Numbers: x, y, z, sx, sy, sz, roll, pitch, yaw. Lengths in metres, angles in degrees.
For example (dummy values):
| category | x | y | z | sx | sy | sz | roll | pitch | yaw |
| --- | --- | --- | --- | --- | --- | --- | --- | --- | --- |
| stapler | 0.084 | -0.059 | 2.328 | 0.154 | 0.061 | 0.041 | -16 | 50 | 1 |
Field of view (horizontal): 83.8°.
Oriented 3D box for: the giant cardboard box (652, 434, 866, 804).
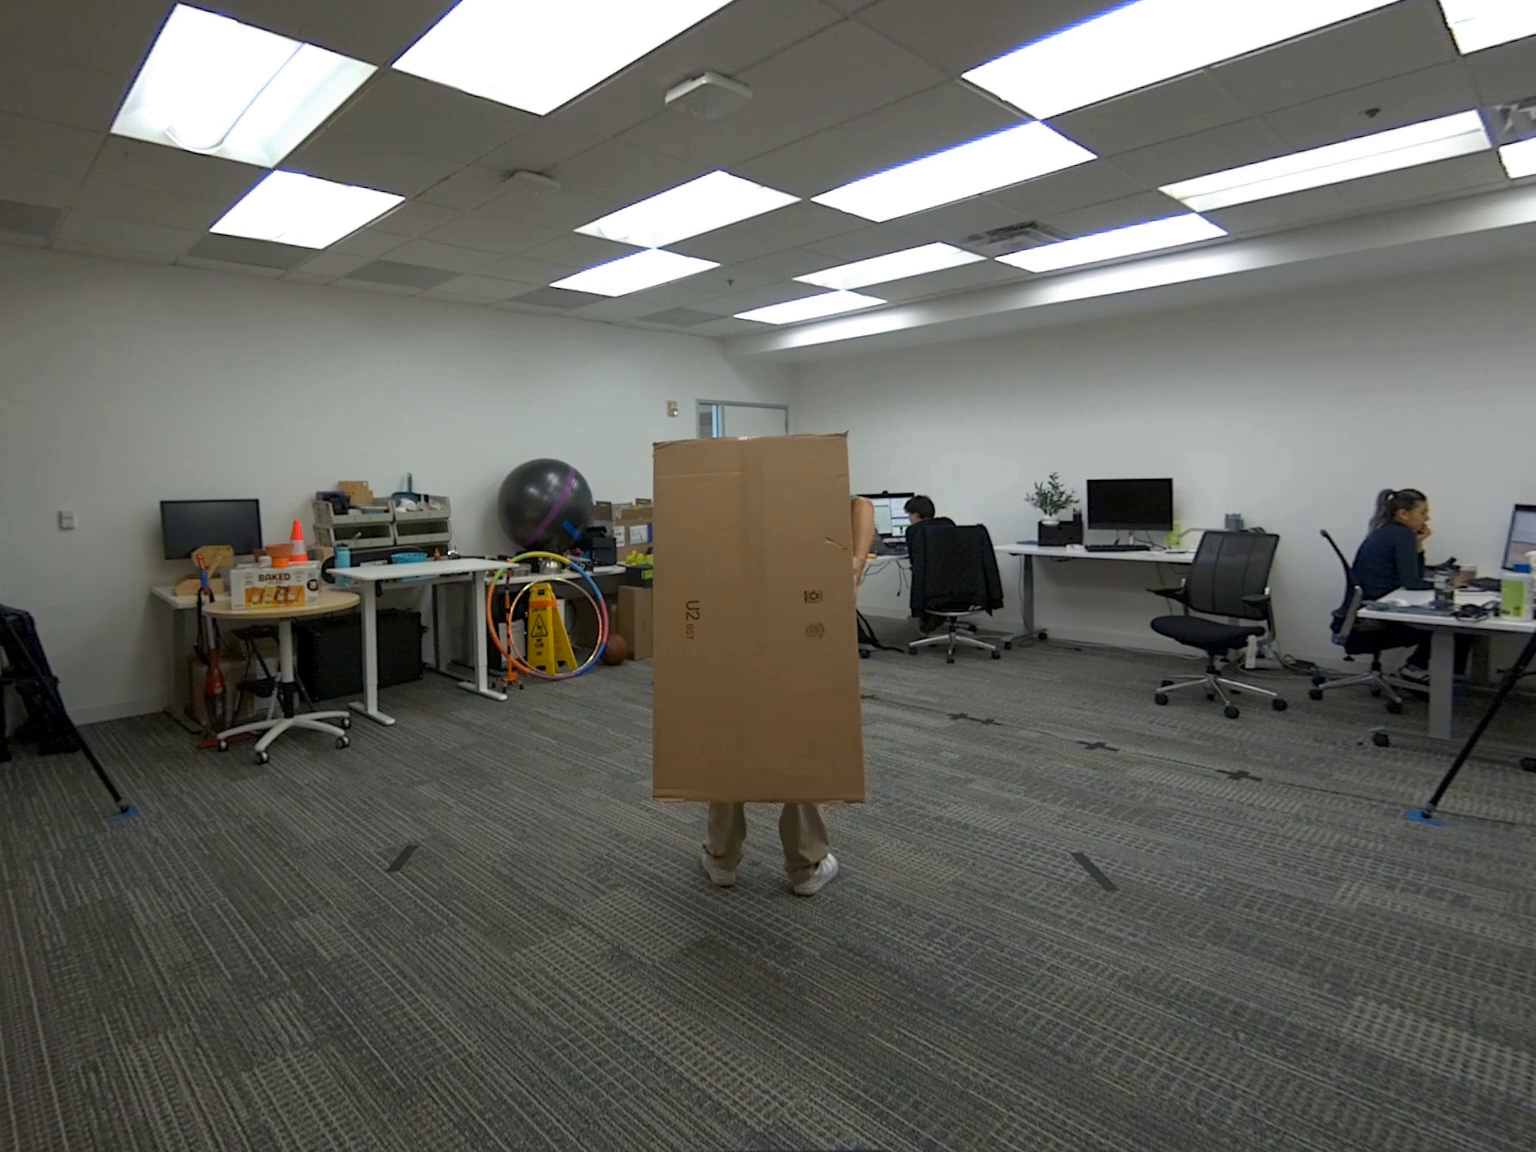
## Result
| category | x | y | z | sx | sy | sz | roll | pitch | yaw |
| --- | --- | --- | --- | --- | --- | --- | --- | --- | --- |
| giant cardboard box | -0.019 | 0.144 | 2.575 | 0.581 | 1.037 | 0.419 | -3 | -11 | 6 |
